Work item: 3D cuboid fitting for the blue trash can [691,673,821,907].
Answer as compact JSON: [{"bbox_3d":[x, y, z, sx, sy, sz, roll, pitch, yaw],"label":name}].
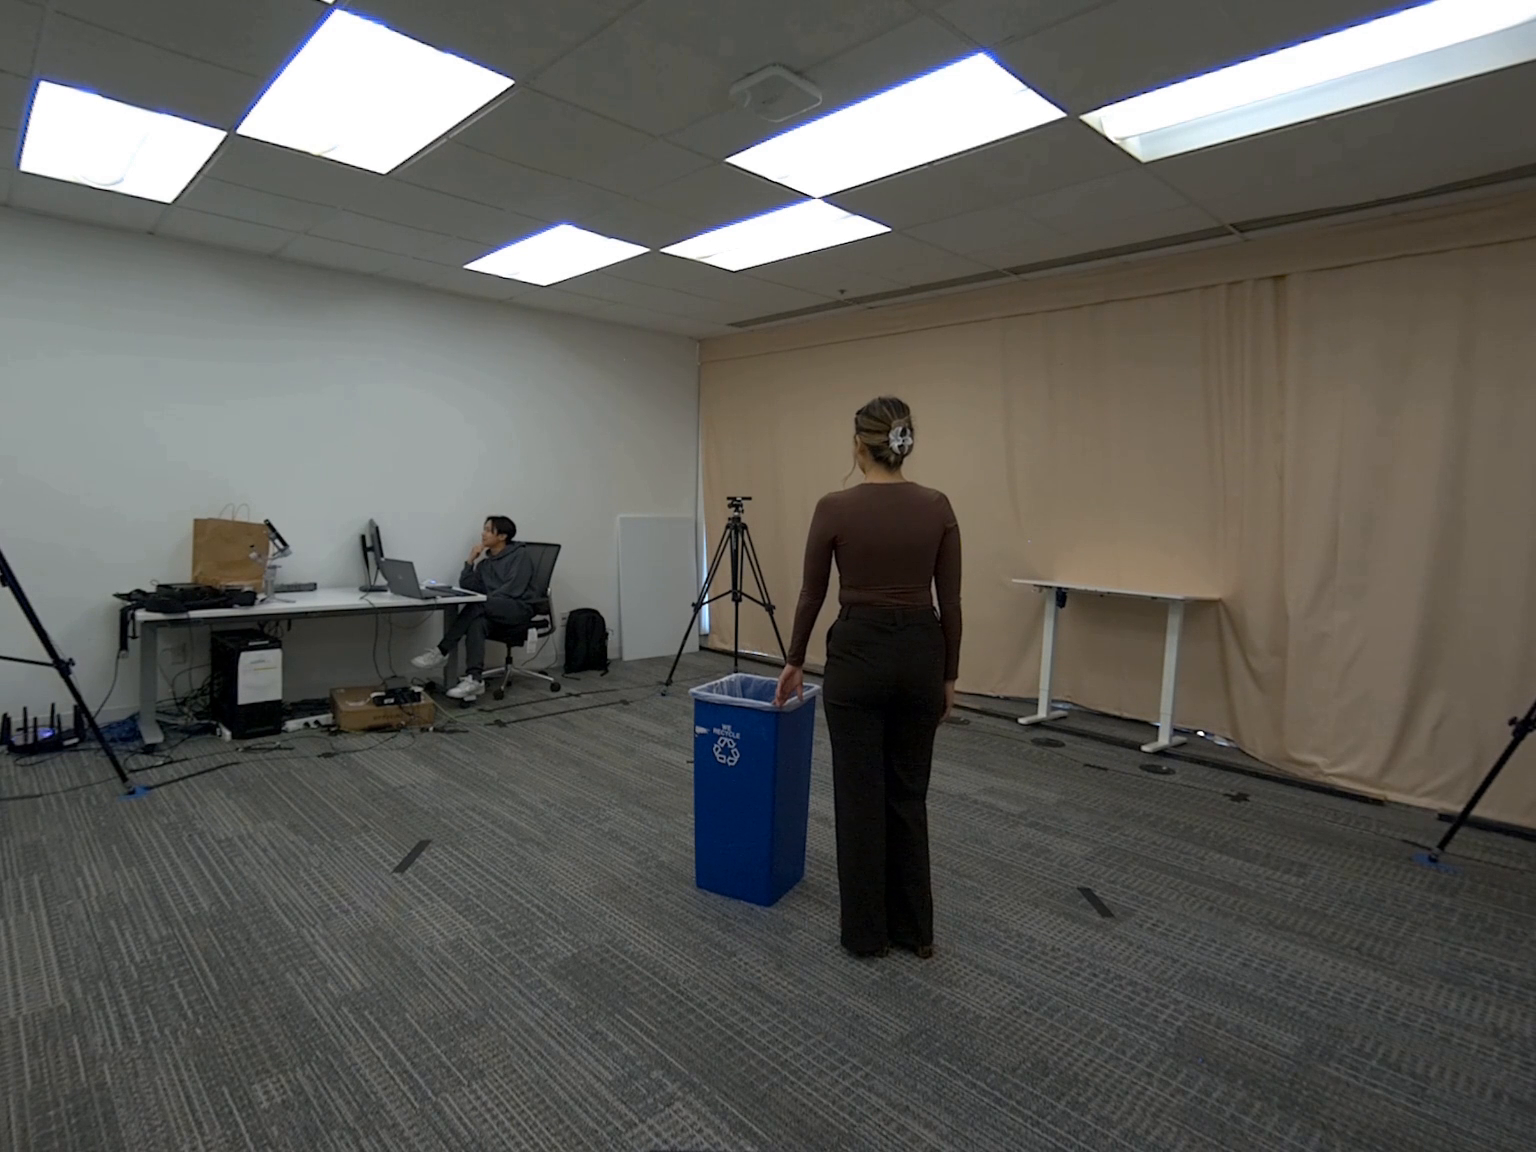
[{"bbox_3d":[-0.054,0.754,3.045,0.382,0.712,0.371,3,4,28],"label":"blue trash can"}]
